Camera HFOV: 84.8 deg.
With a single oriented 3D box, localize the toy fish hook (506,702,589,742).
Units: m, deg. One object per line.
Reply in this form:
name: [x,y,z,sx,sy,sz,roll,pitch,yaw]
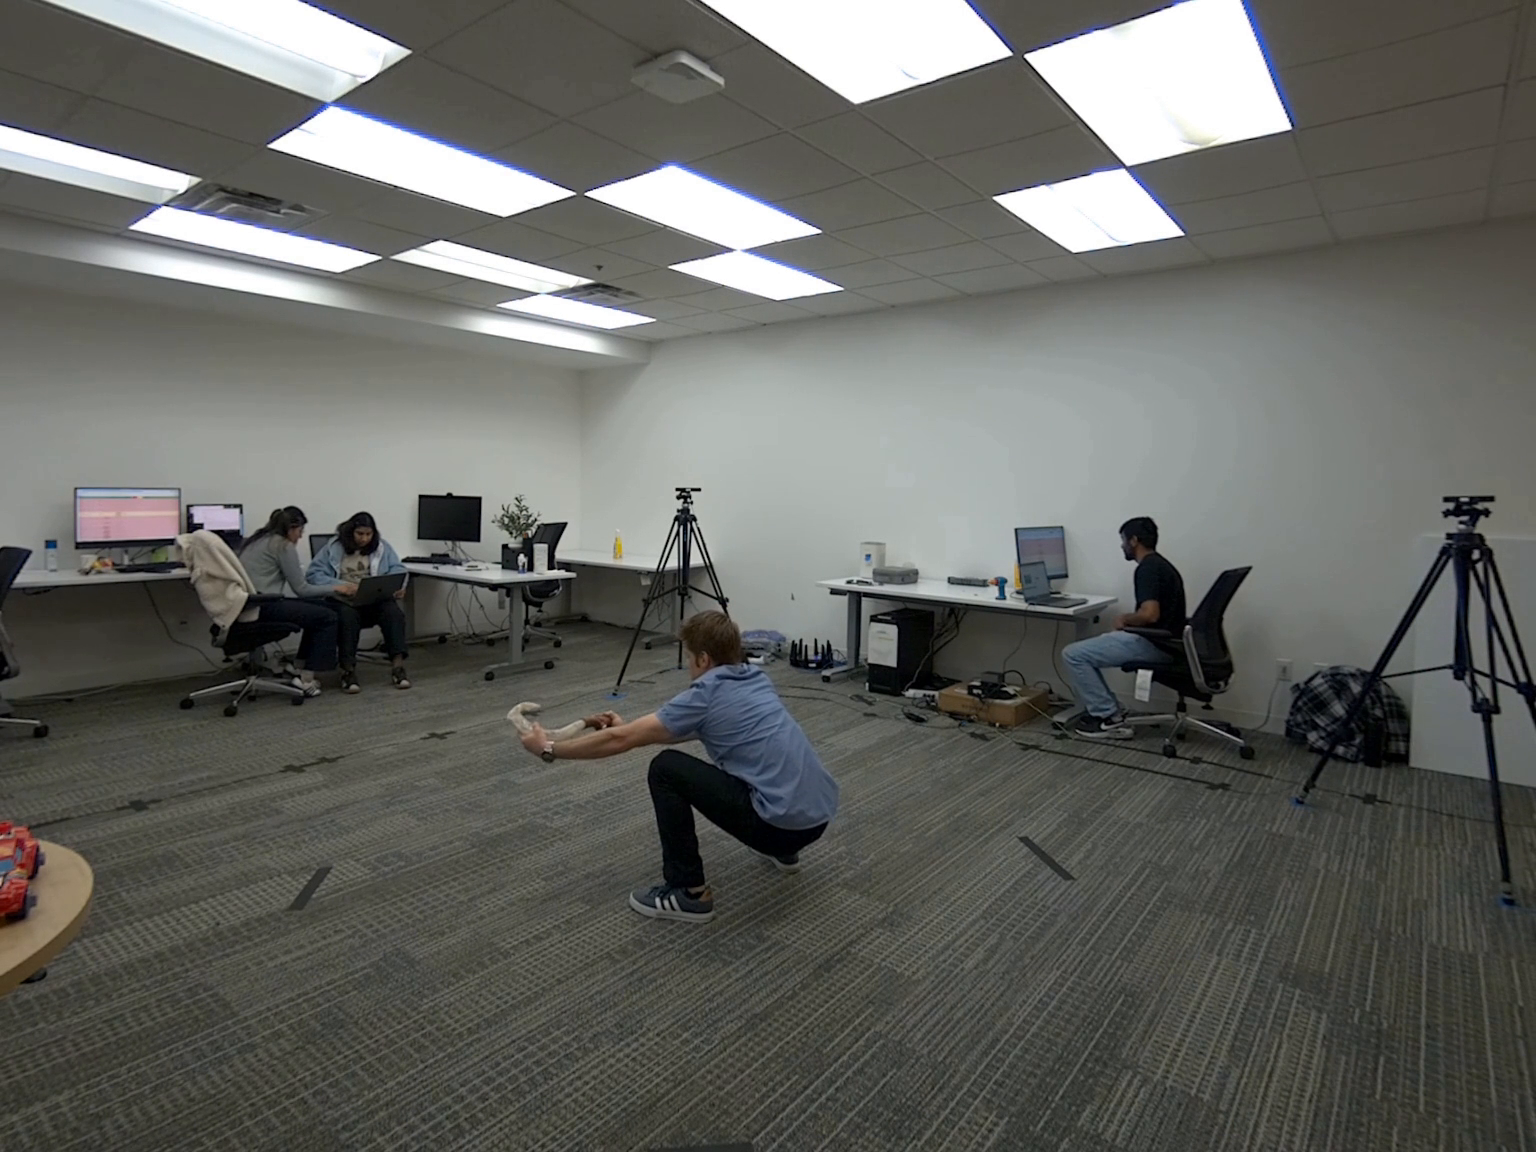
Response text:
toy fish hook: [-0.755,0.527,3.136,0.232,0.048,0.491,36,13,25]
